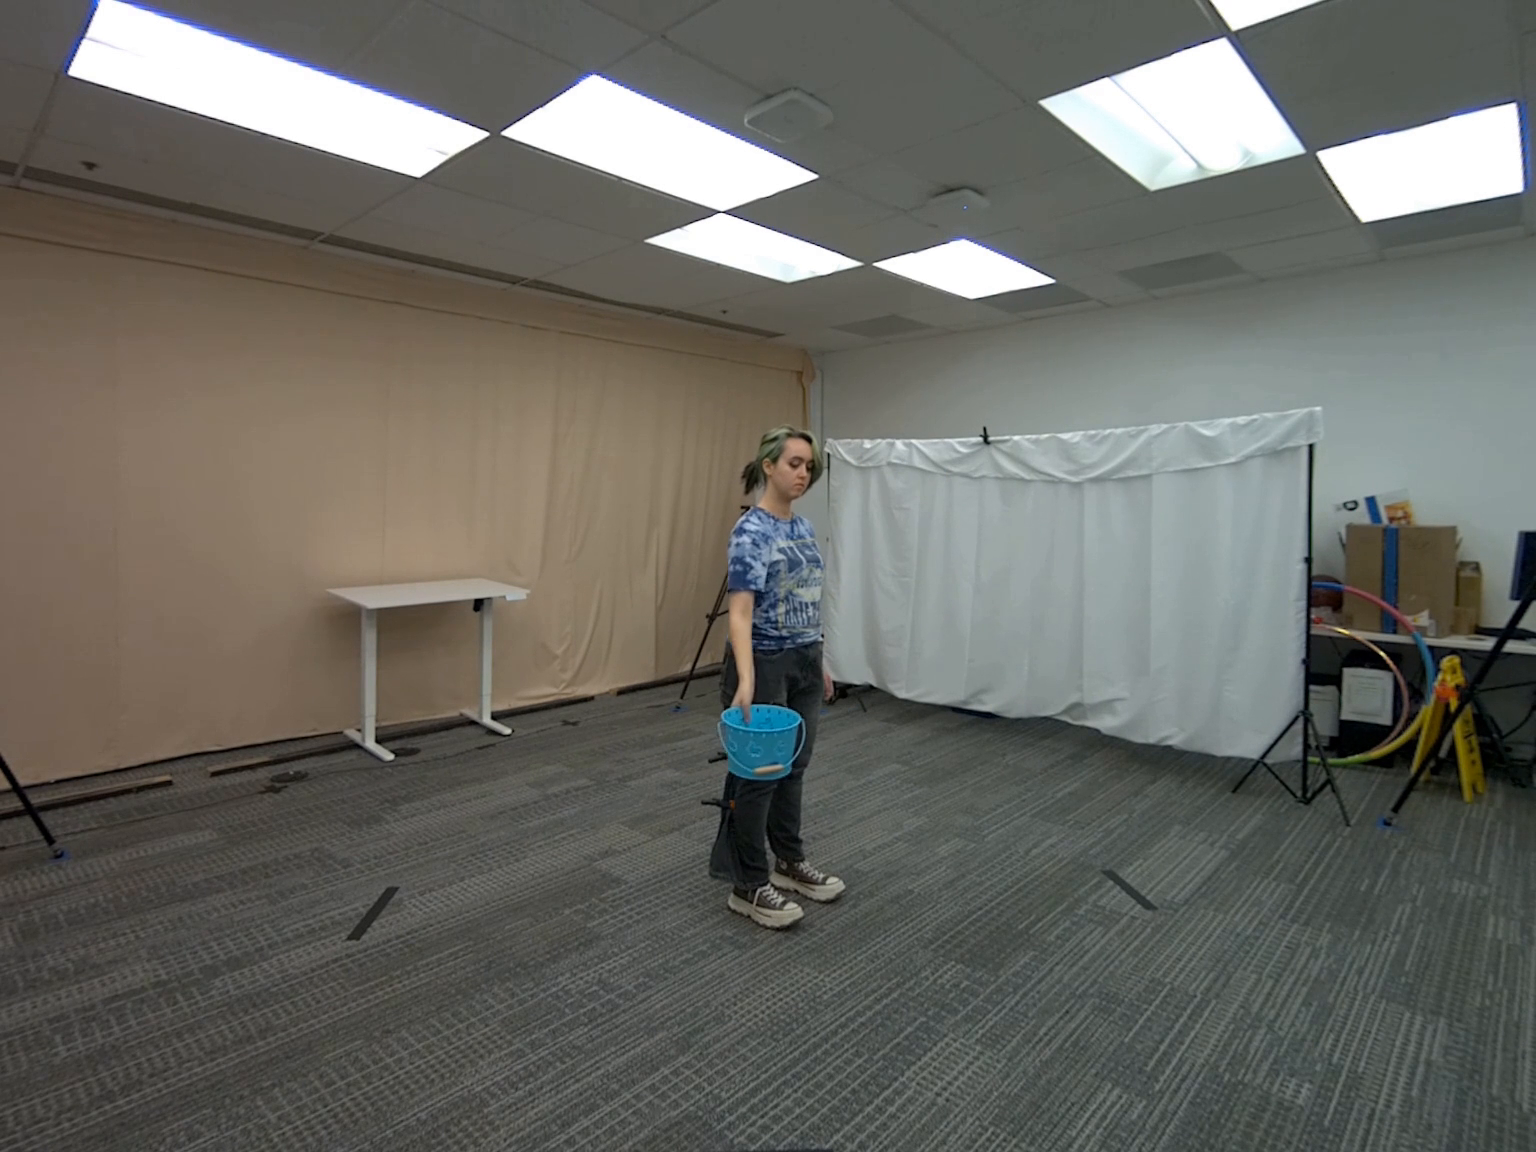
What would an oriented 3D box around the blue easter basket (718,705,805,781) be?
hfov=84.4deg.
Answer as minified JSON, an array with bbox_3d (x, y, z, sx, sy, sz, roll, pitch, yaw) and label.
[{"bbox_3d":[-0.023,0.471,2.424,0.243,0.155,0.245,0,7,-2],"label":"blue easter basket"}]
